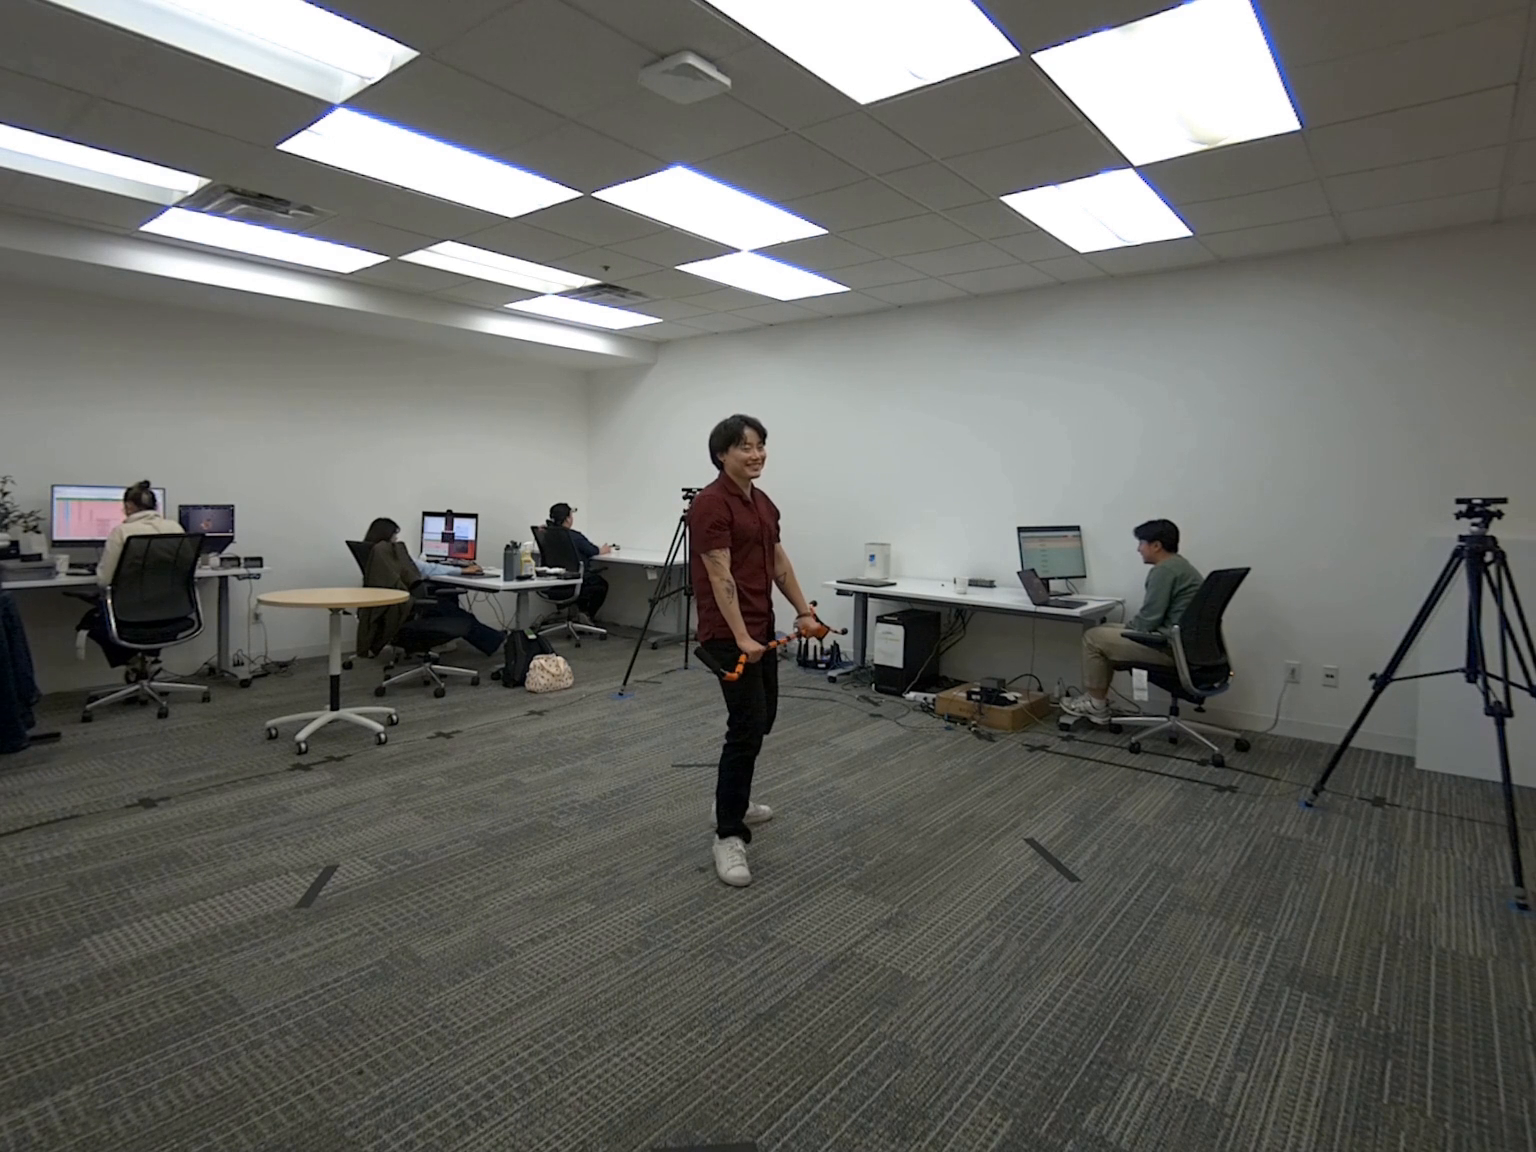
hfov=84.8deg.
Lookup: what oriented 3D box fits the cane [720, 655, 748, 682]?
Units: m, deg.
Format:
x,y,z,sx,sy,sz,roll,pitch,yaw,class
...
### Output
x,y,z,sx,sy,sz,roll,pitch,yaw,class
0.026,0.275,3.229,0.212,0.151,0.888,41,24,18,cane
